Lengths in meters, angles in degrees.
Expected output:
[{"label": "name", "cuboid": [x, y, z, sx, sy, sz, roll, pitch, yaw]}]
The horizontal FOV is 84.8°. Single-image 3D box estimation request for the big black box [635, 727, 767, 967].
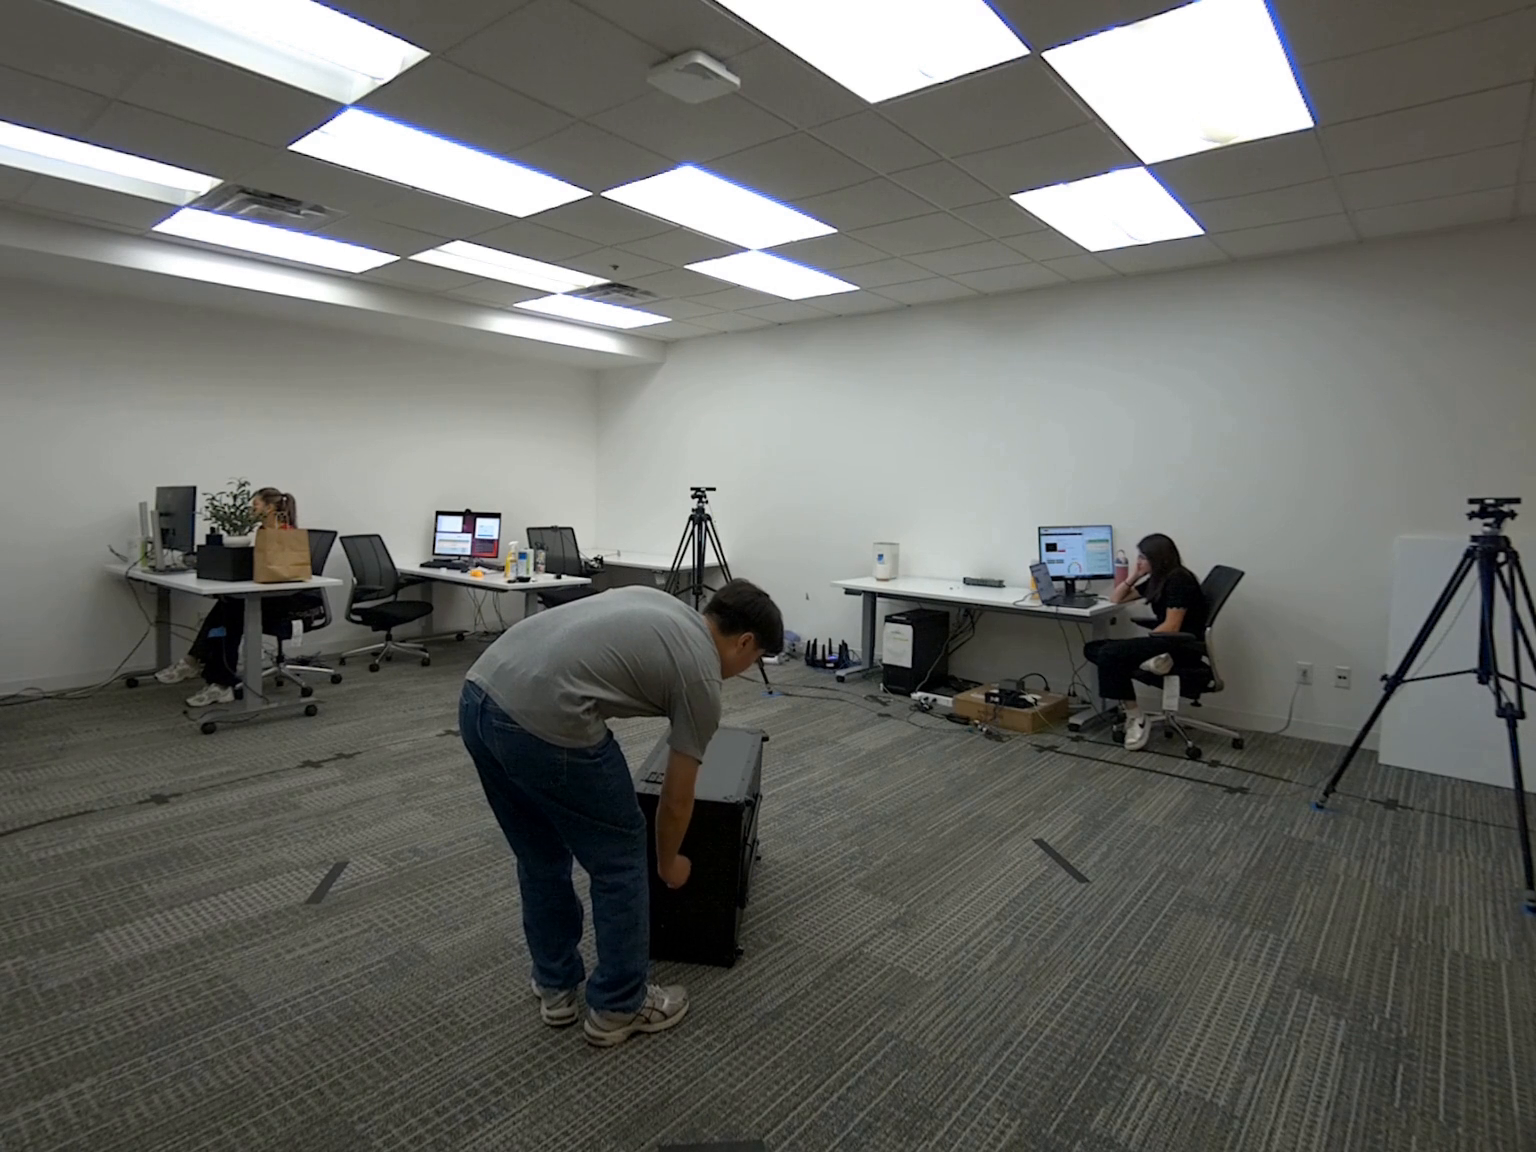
[{"label": "big black box", "cuboid": [-0.233, 0.840, 2.819, 0.399, 0.519, 0.858, 3, 5, 5]}]
